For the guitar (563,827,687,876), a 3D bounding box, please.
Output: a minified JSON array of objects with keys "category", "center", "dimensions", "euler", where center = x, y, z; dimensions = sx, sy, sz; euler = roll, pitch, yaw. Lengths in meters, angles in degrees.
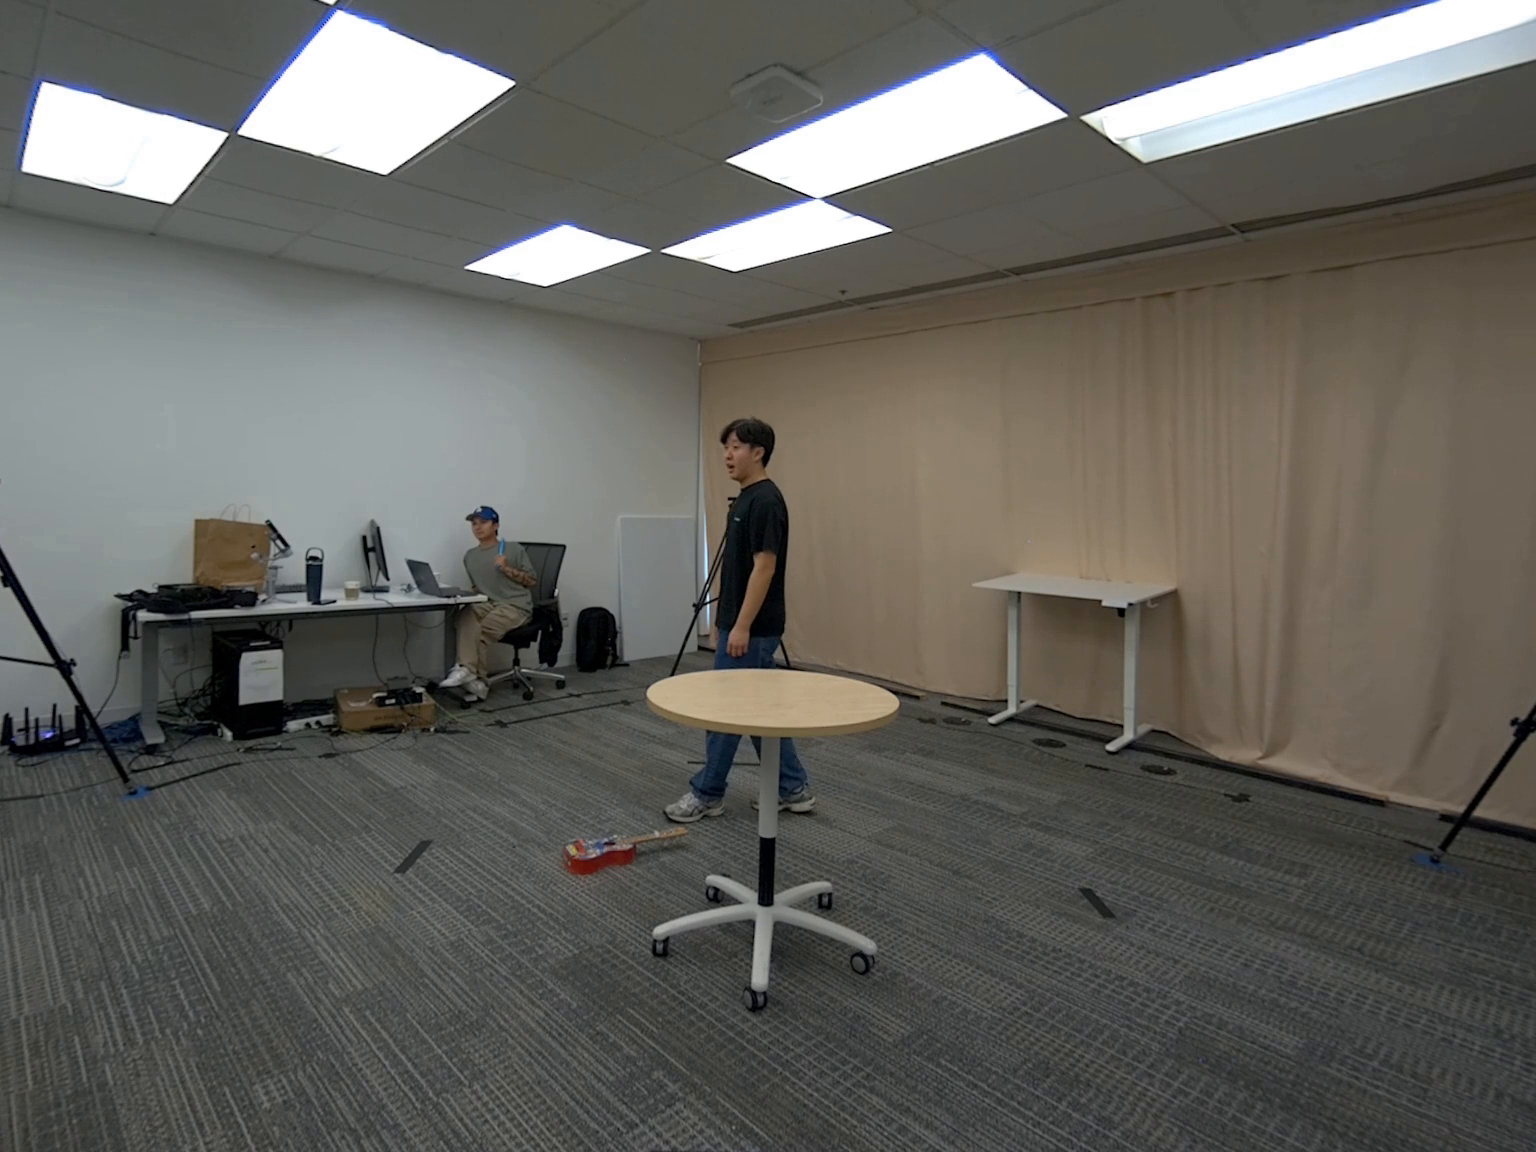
[{"category":"guitar","center":[-0.541,1.053,3.231],"dimensions":[0.491,0.070,0.196],"euler":[-1,5,-19]}]
